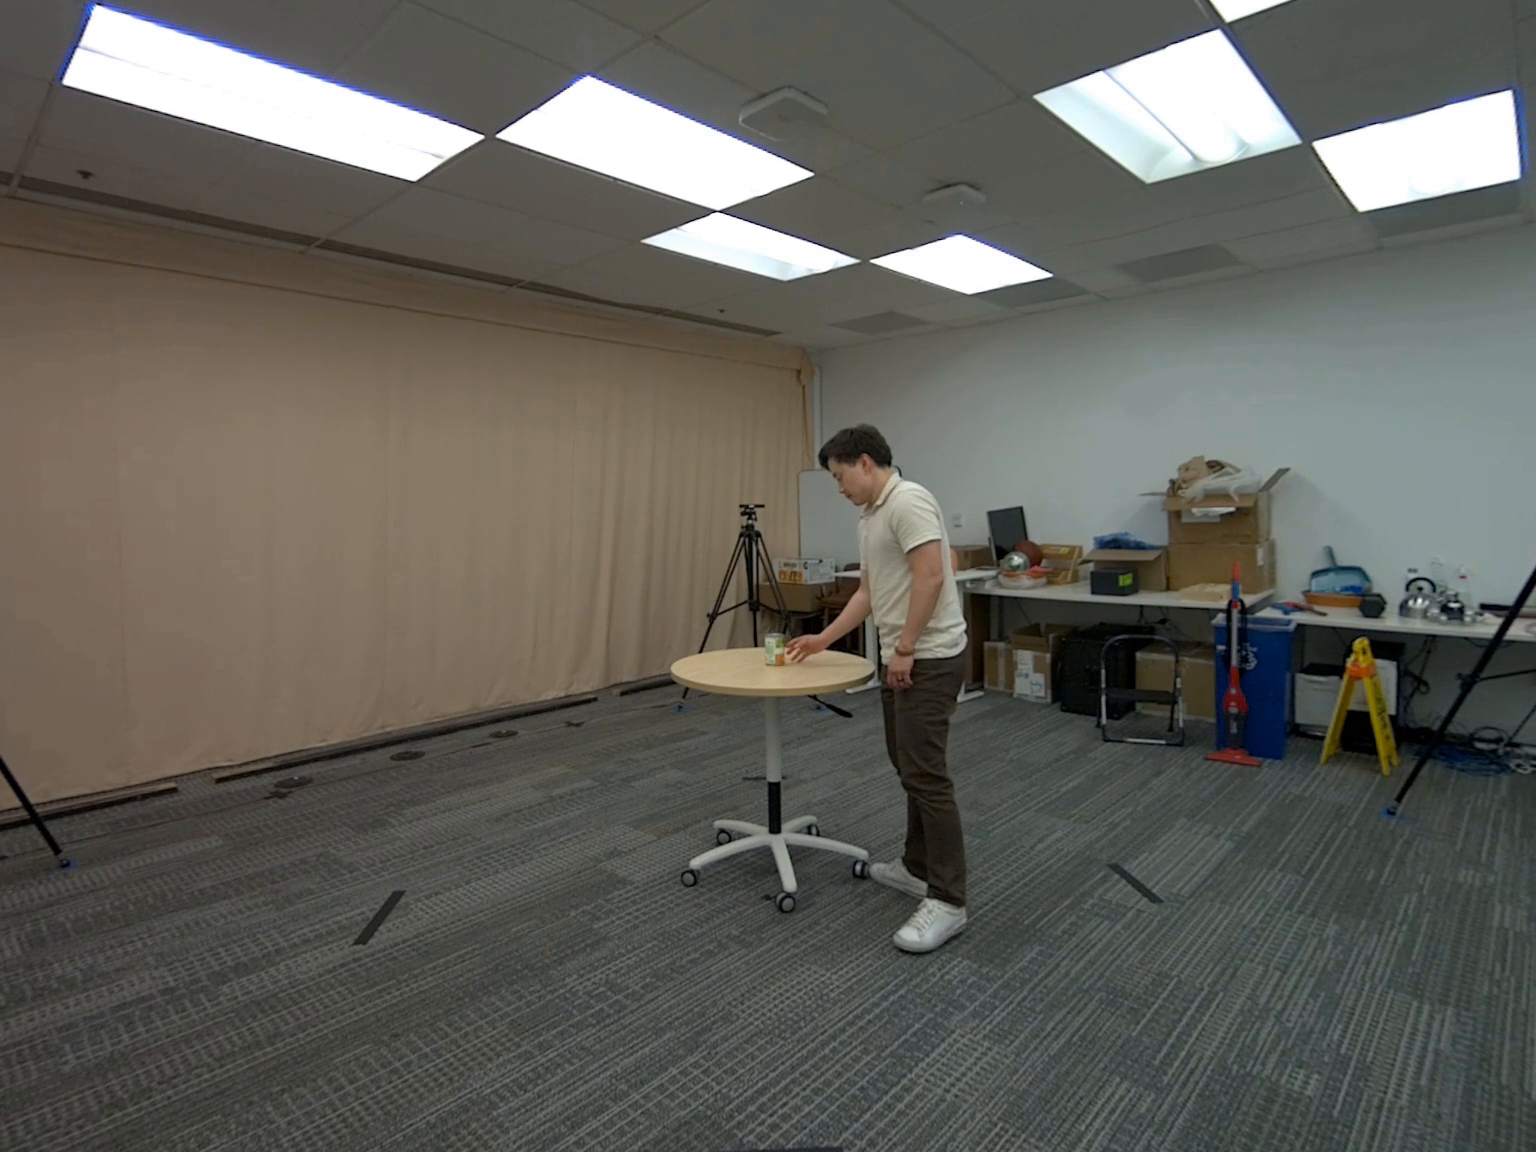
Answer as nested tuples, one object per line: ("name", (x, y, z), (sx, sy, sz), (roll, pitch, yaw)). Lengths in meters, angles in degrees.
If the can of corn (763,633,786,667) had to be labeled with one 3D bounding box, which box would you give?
("can of corn", (0.030, 0.283, 3.199), (0.074, 0.111, 0.074), (0, 5, -2))
